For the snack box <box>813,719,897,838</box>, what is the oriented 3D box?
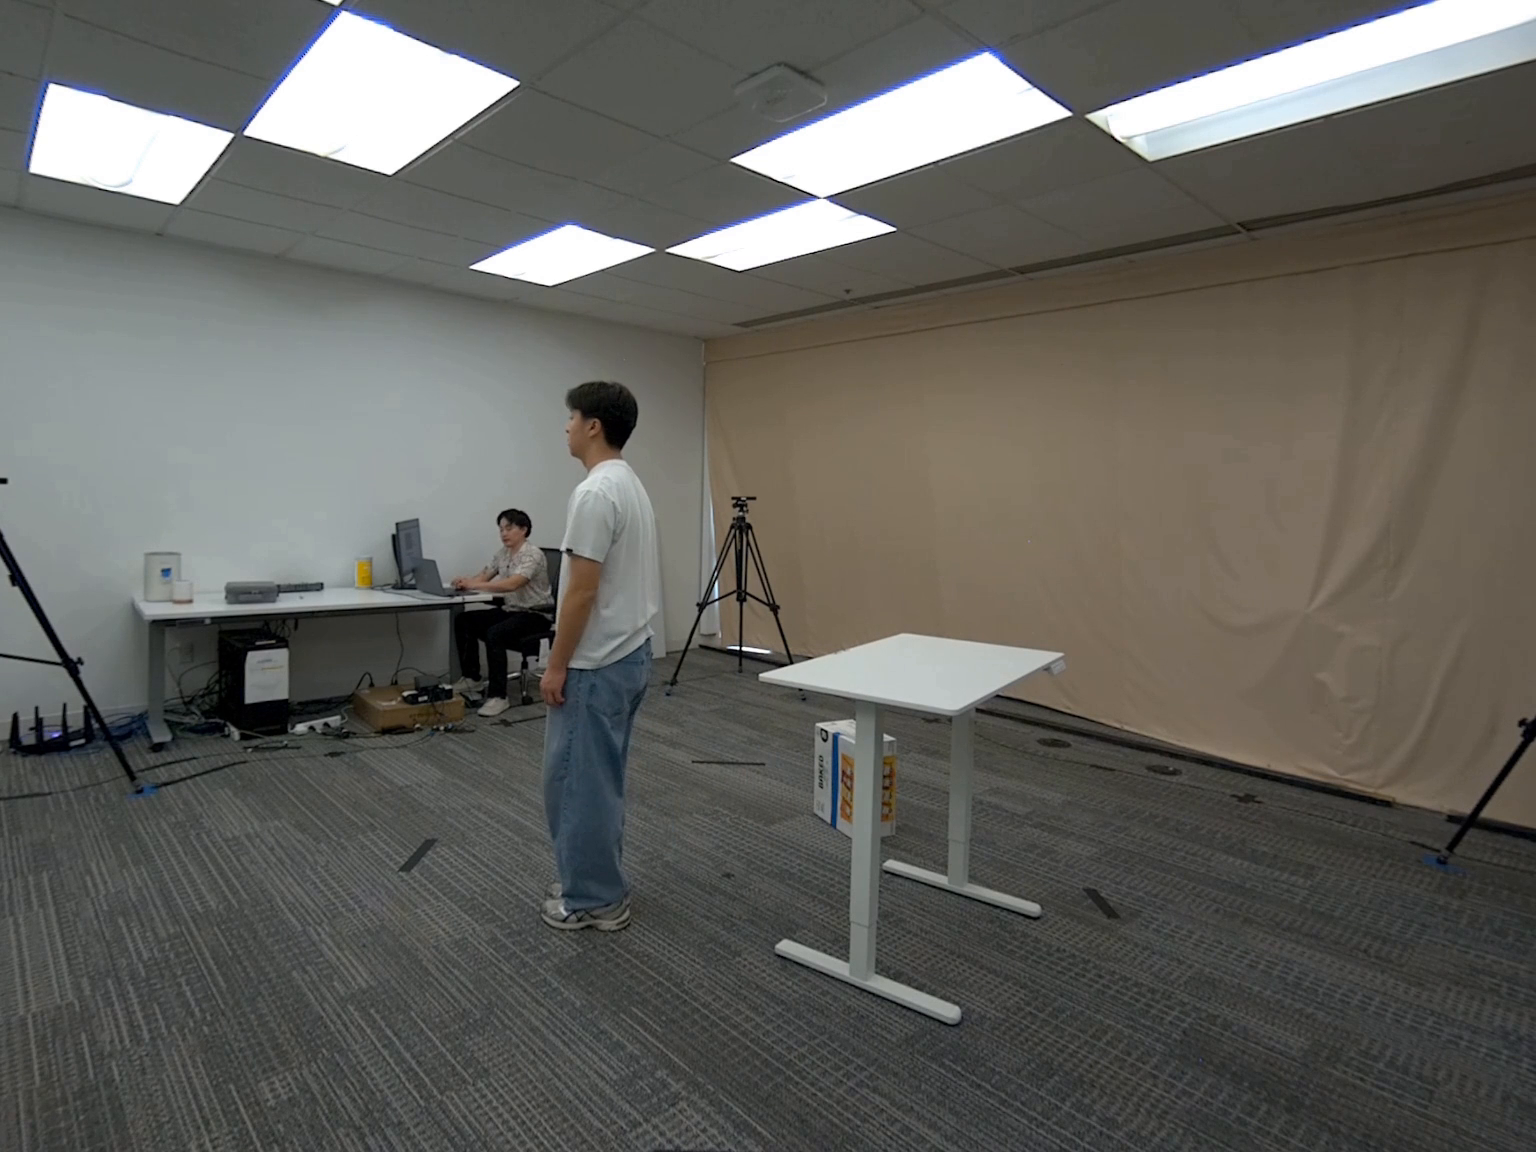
[{"bbox_3d":[0.364,0.869,3.634,0.202,0.404,0.347,0,4,-26],"label":"snack box"}]
